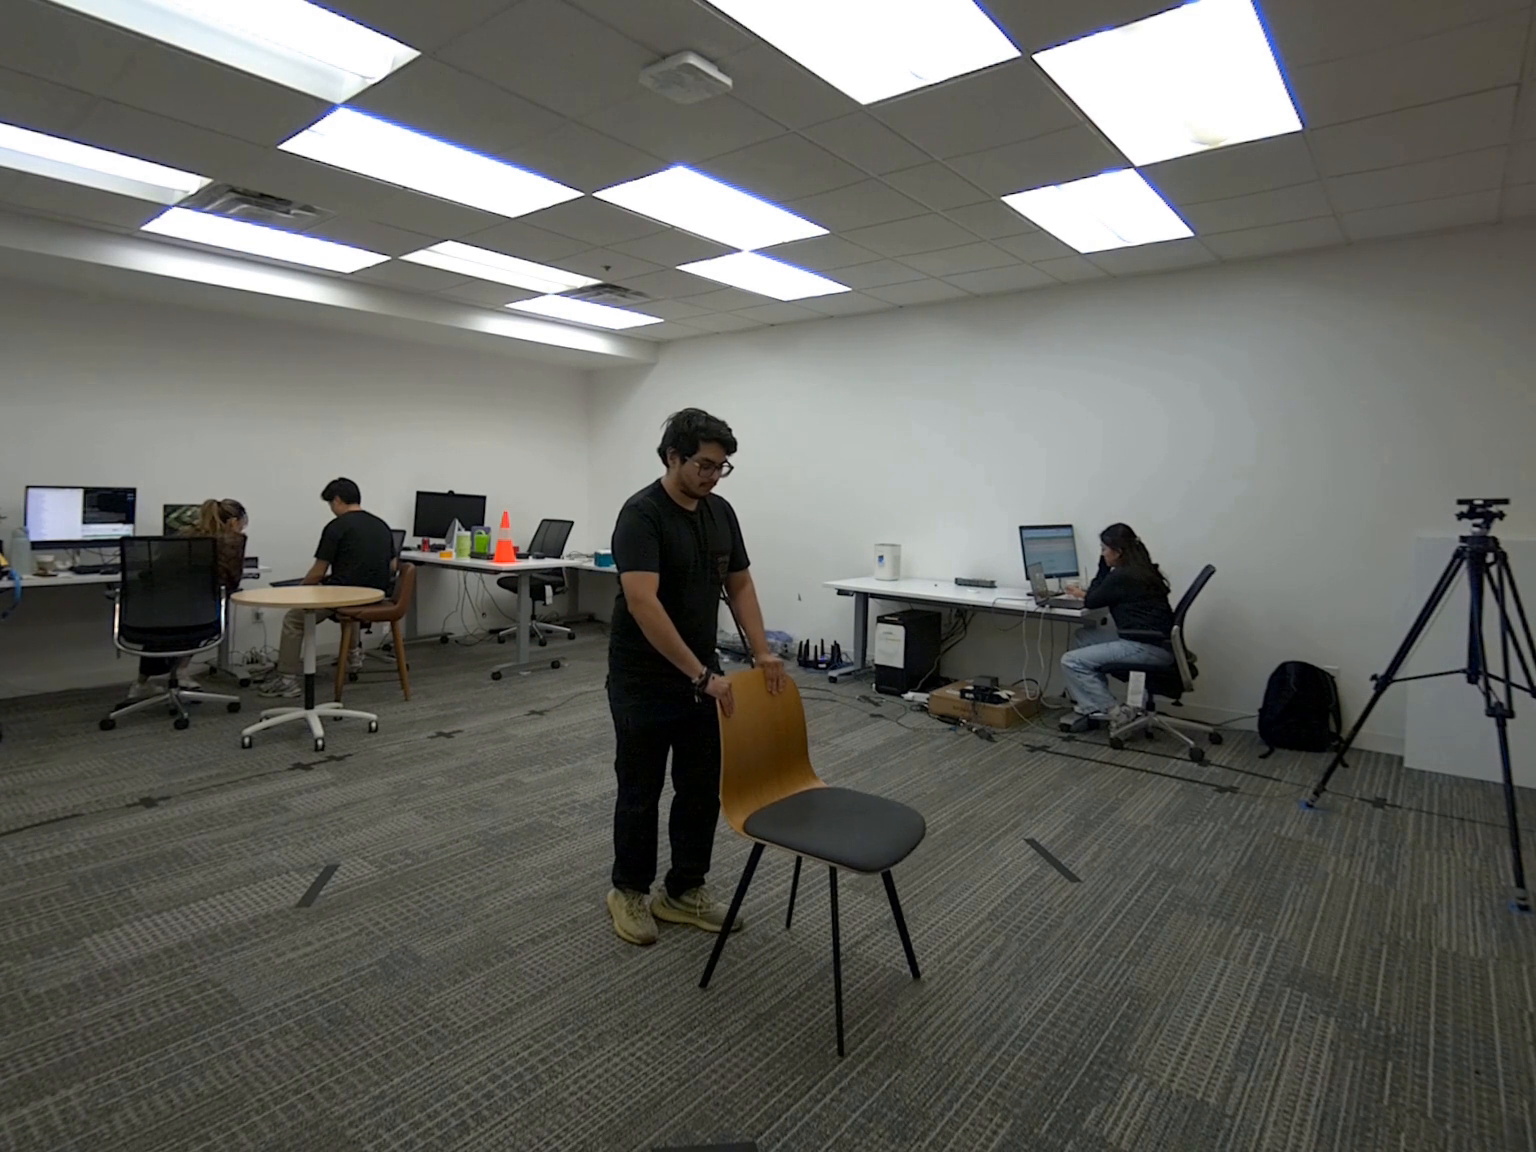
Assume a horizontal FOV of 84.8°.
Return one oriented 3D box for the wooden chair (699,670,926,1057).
[{"bbox_3d":[0.137,0.720,2.373,0.539,0.877,0.464,-2,0,37],"label":"wooden chair"}]
